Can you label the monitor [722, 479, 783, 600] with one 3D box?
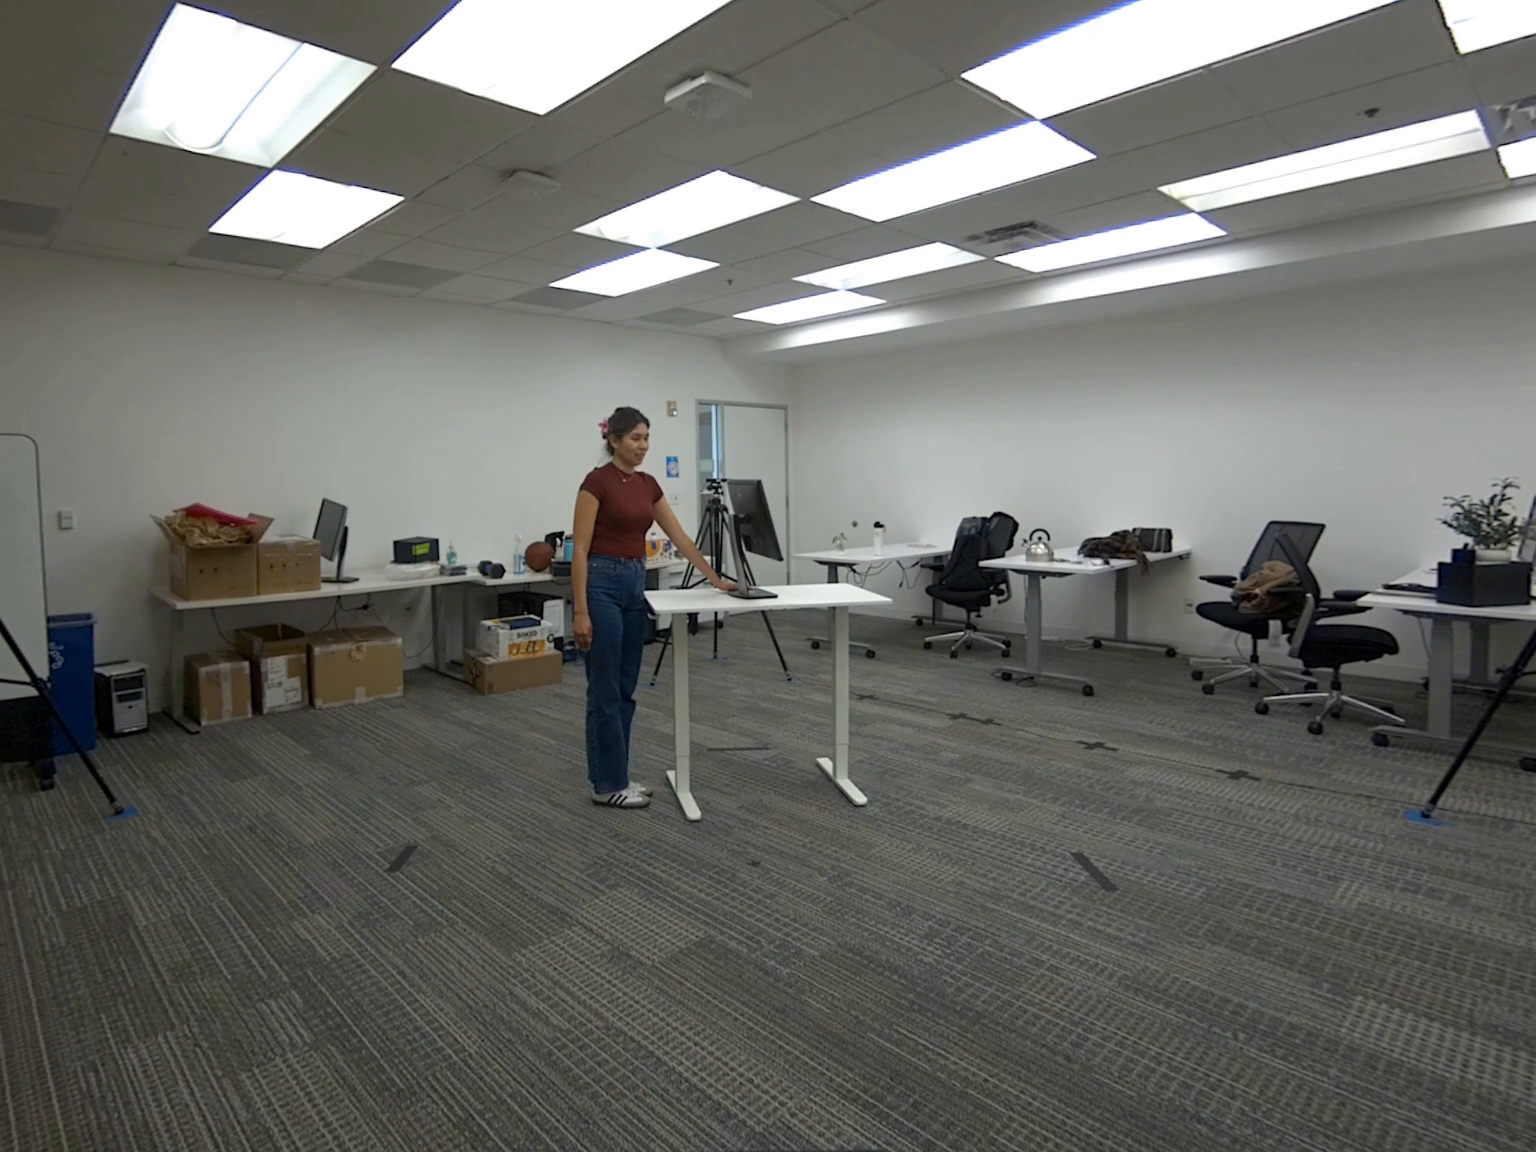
[{"bbox_3d":[-0.098,-0.169,3.782,0.184,0.519,0.550,-4,7,-18],"label":"monitor"}]
